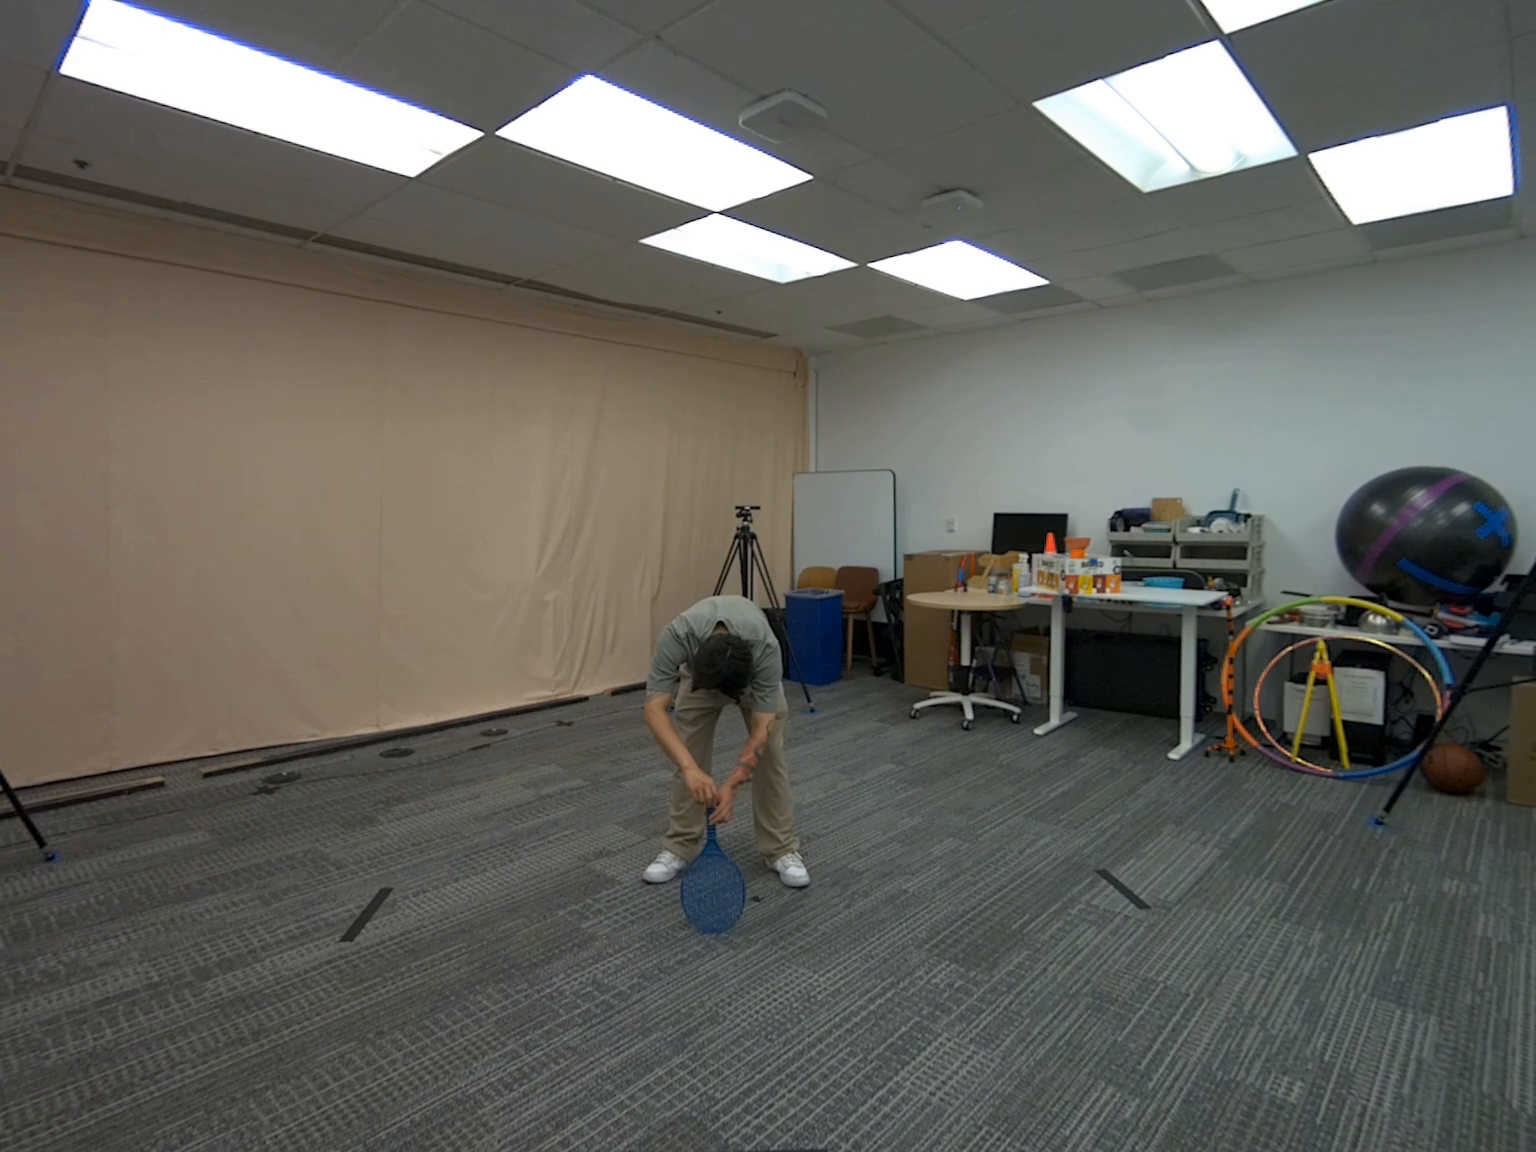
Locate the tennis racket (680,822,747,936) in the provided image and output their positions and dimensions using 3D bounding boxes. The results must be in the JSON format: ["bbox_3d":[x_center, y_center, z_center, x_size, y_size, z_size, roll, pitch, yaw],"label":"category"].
[{"bbox_3d":[-0.180,0.952,2.739,0.214,0.433,0.032,-1,0,2],"label":"tennis racket"}]
